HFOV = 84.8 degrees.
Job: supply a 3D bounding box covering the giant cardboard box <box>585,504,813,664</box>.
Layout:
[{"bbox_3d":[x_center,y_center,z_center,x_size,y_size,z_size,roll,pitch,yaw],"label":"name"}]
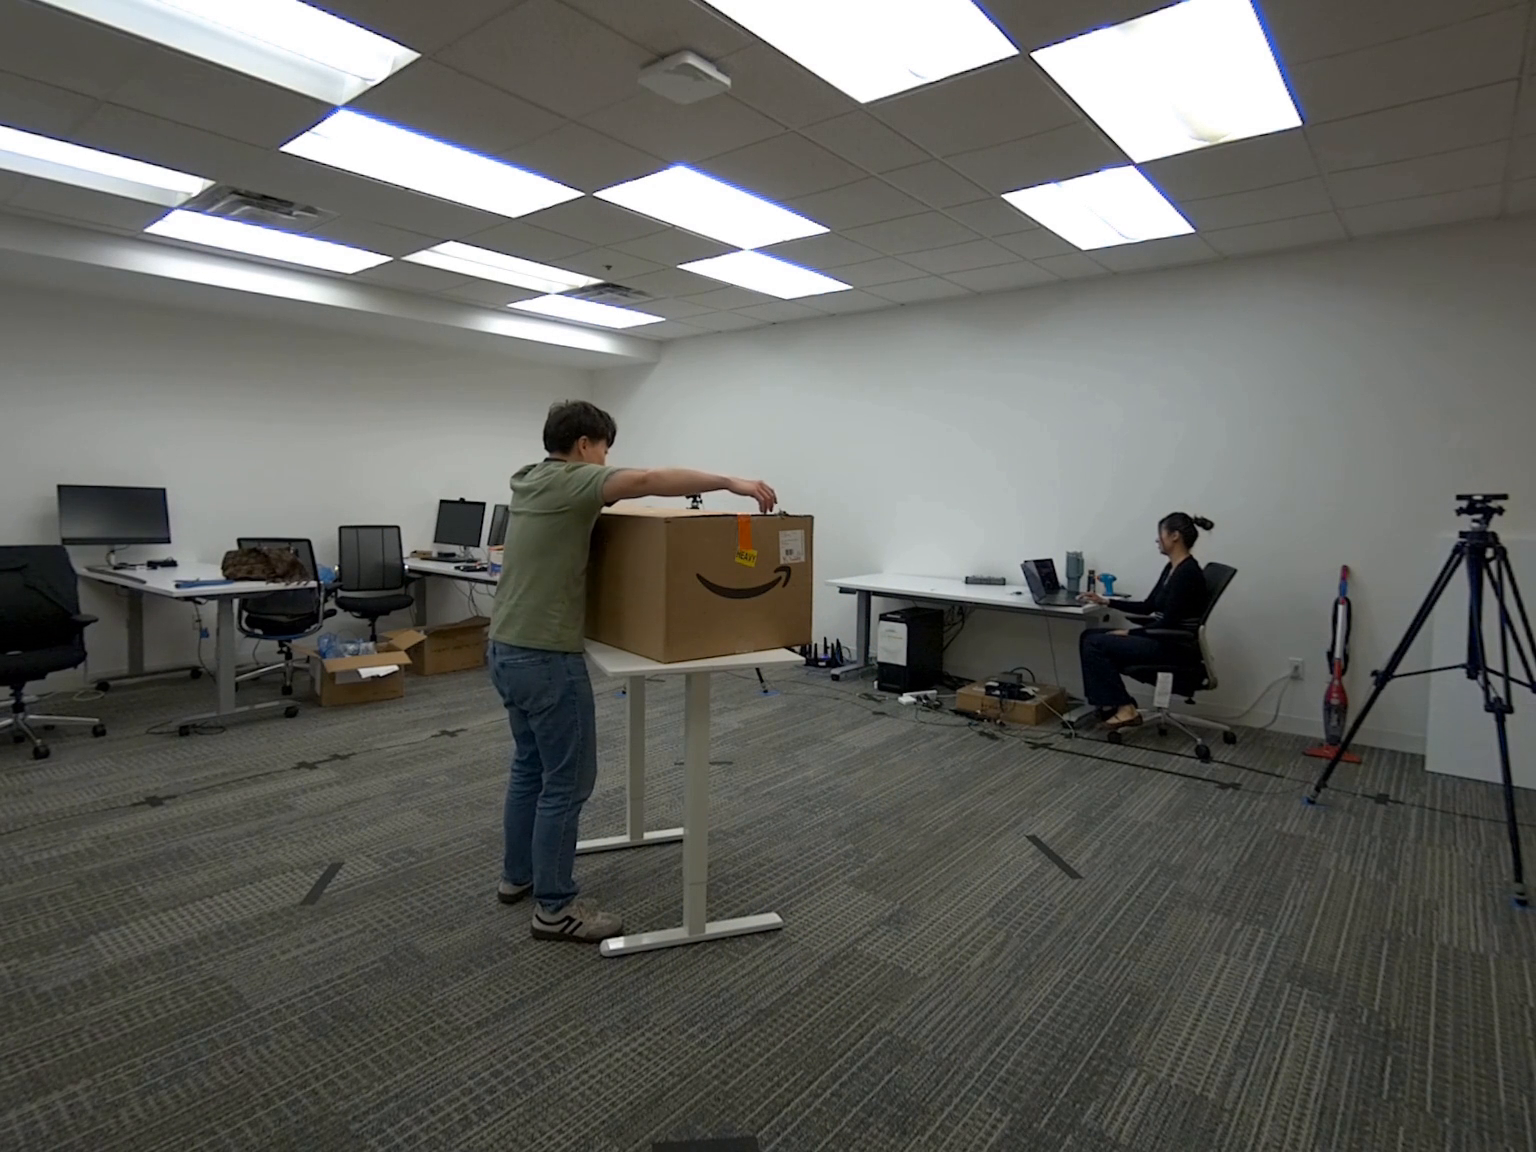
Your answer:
[{"bbox_3d":[-0.398,-0.025,3.009,0.561,0.424,1.060,-3,7,-37],"label":"giant cardboard box"}]
